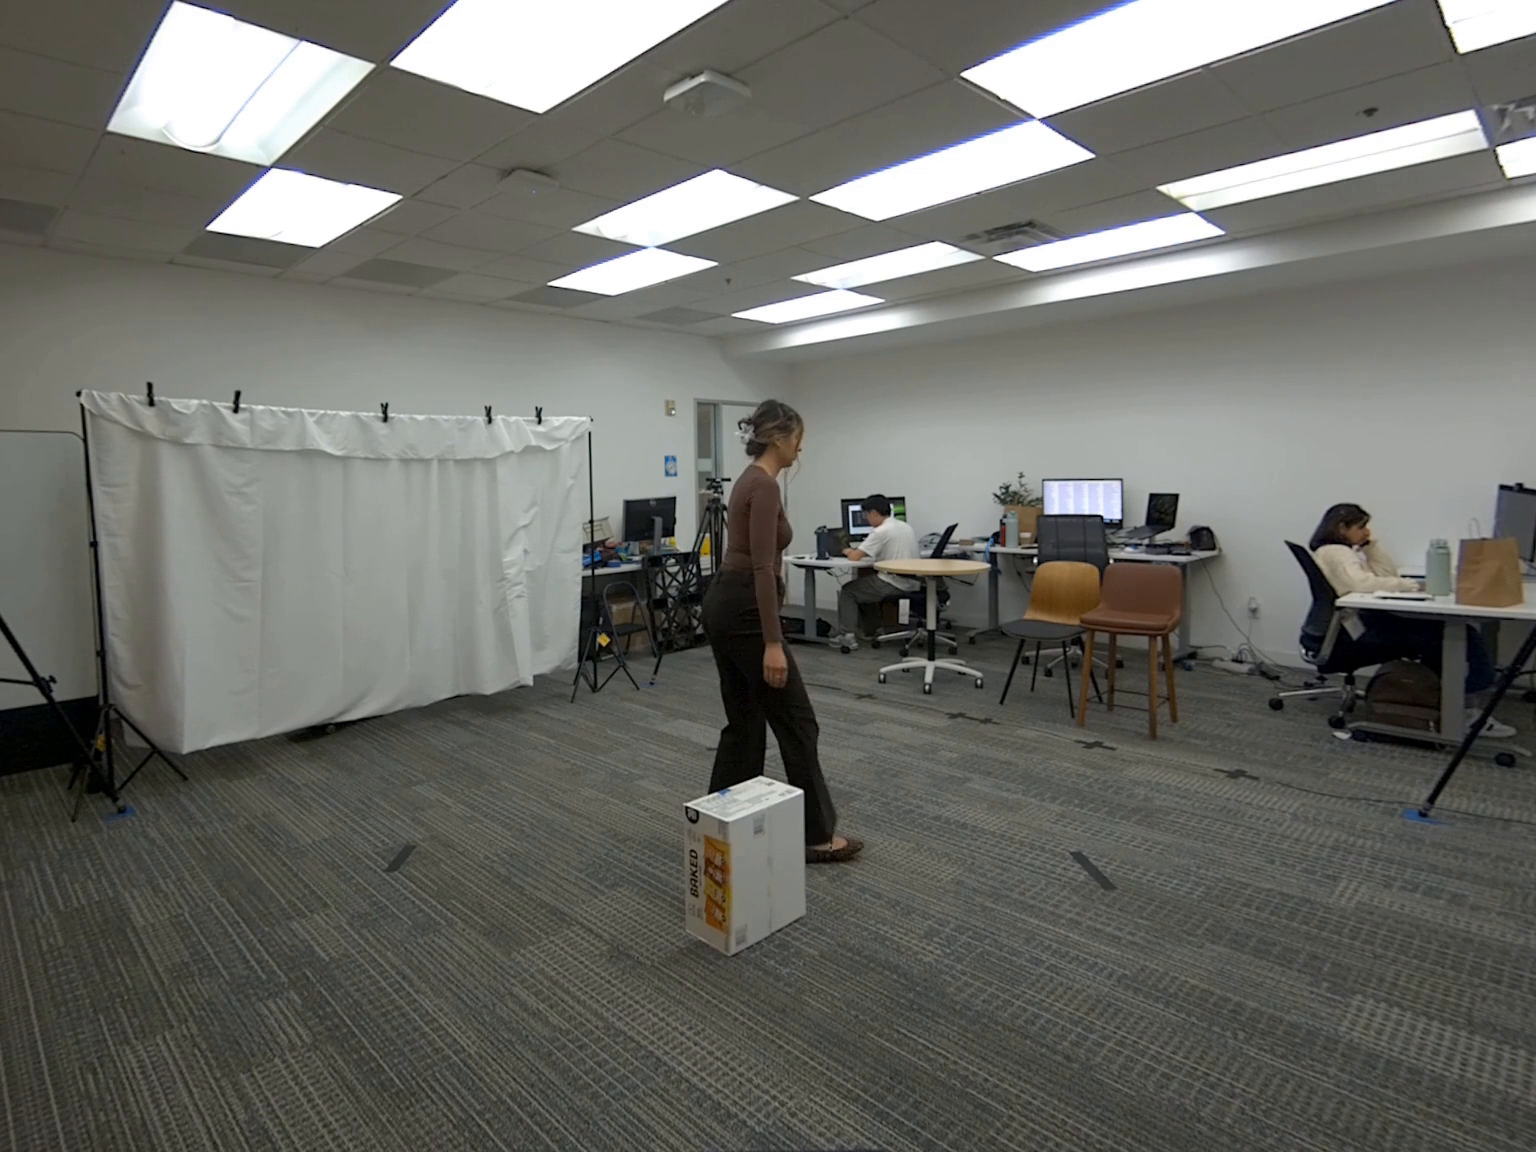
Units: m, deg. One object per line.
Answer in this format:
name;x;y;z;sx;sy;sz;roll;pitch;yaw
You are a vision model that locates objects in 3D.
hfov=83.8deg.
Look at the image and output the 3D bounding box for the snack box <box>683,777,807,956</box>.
snack box;-0.067;0.892;2.672;0.212;0.404;0.331;3;6;45
